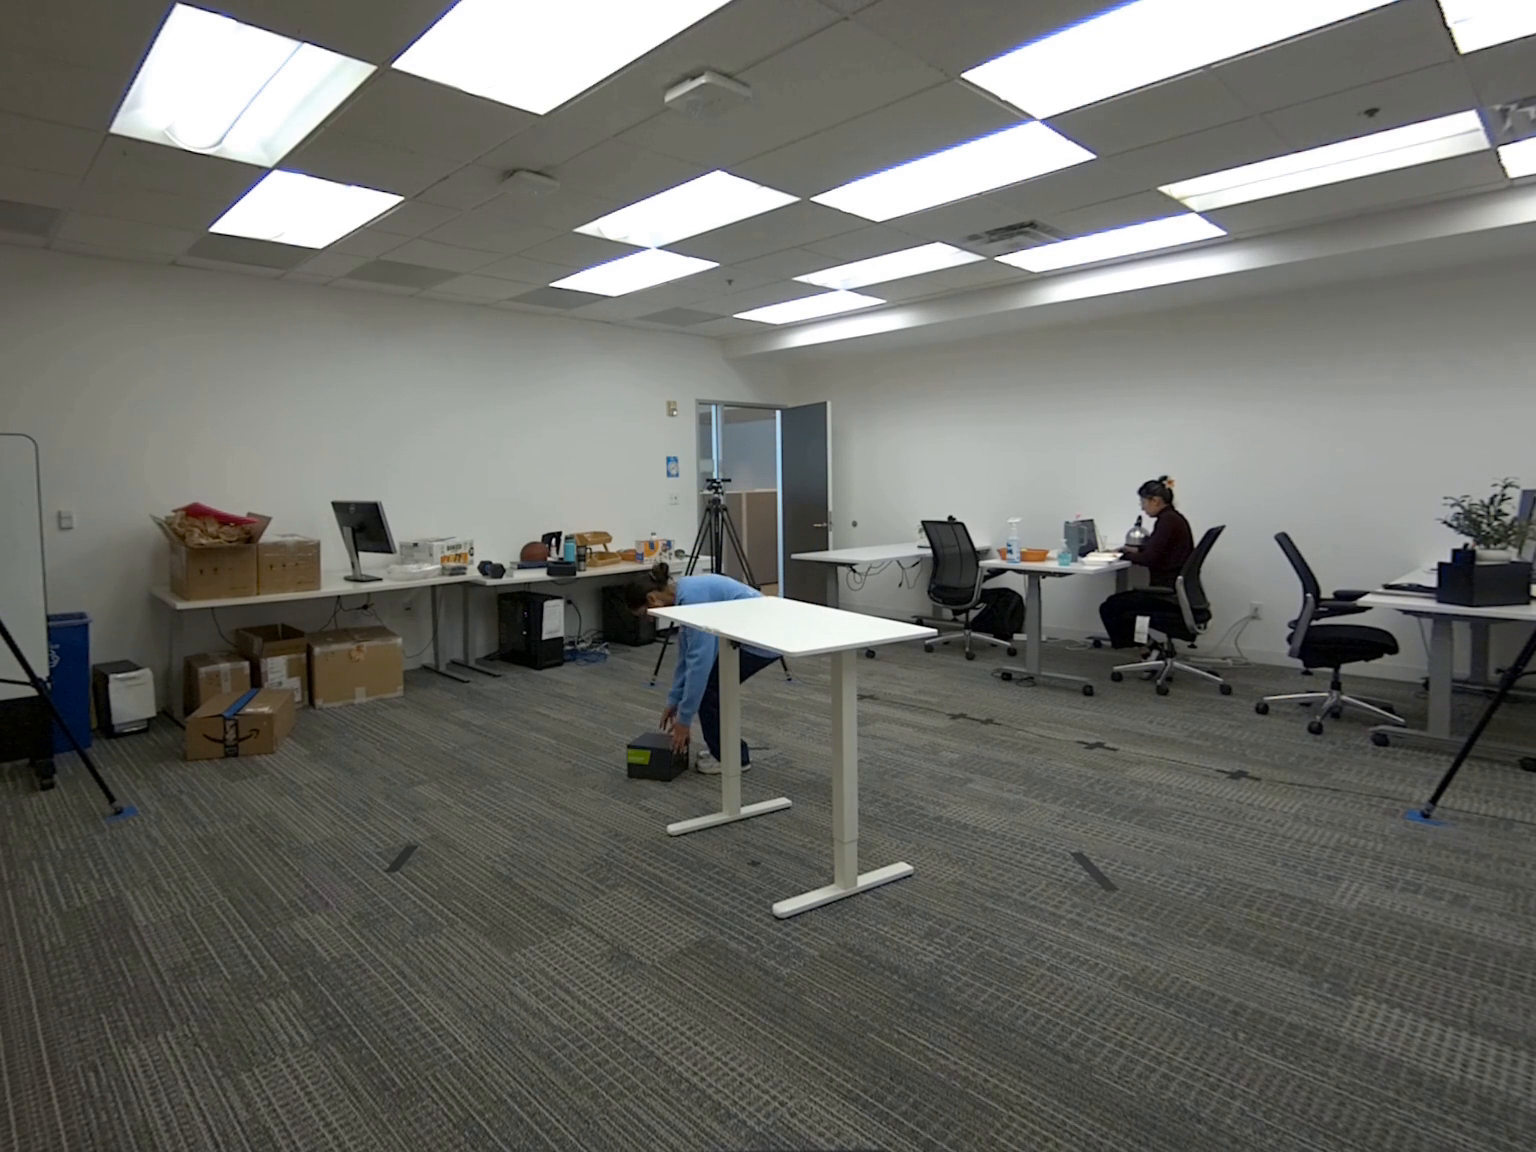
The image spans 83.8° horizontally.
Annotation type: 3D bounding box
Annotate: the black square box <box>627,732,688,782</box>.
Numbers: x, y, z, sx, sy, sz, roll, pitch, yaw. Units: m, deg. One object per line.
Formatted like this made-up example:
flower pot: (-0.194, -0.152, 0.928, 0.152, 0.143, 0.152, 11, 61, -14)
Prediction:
black square box: (-0.527, 0.860, 4.095, 0.232, 0.155, 0.214, 2, 5, 19)
